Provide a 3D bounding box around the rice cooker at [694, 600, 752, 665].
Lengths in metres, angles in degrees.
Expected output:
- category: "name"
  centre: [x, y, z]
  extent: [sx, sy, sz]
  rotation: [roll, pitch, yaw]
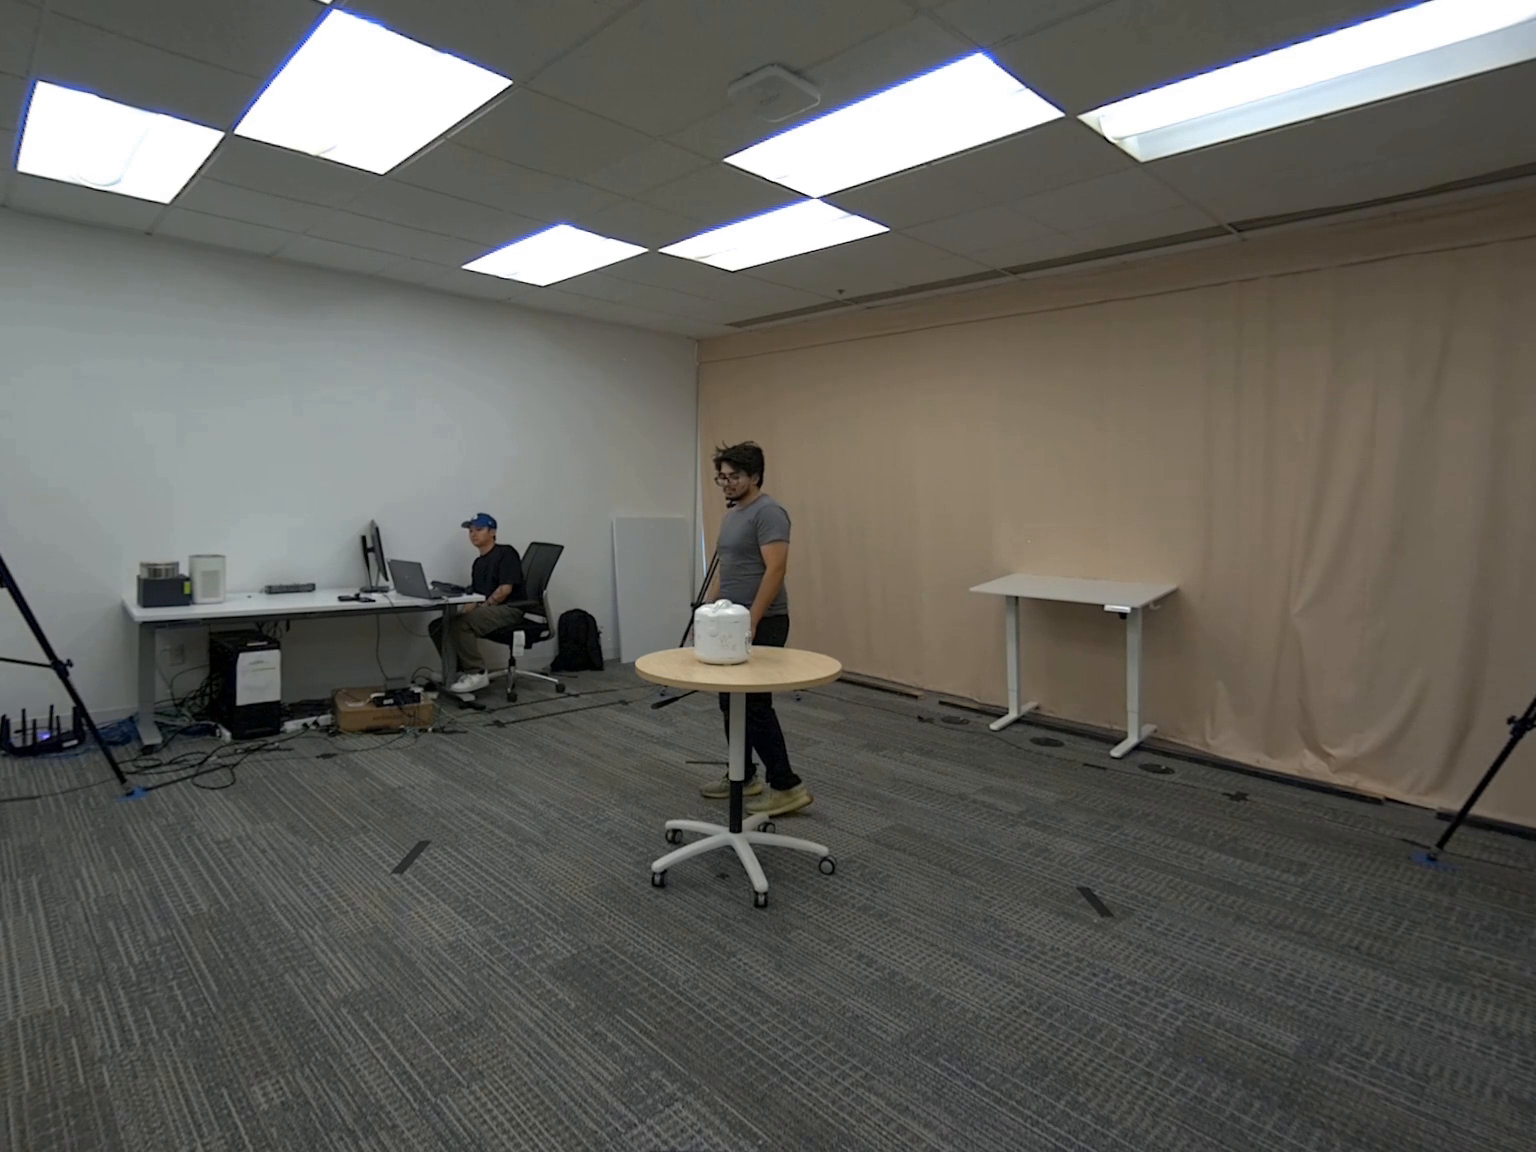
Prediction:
- category: "rice cooker"
  centre: [-0.179, 0.204, 3.157]
  extent: [0.221, 0.232, 0.218]
  rotation: [2, 4, 19]
